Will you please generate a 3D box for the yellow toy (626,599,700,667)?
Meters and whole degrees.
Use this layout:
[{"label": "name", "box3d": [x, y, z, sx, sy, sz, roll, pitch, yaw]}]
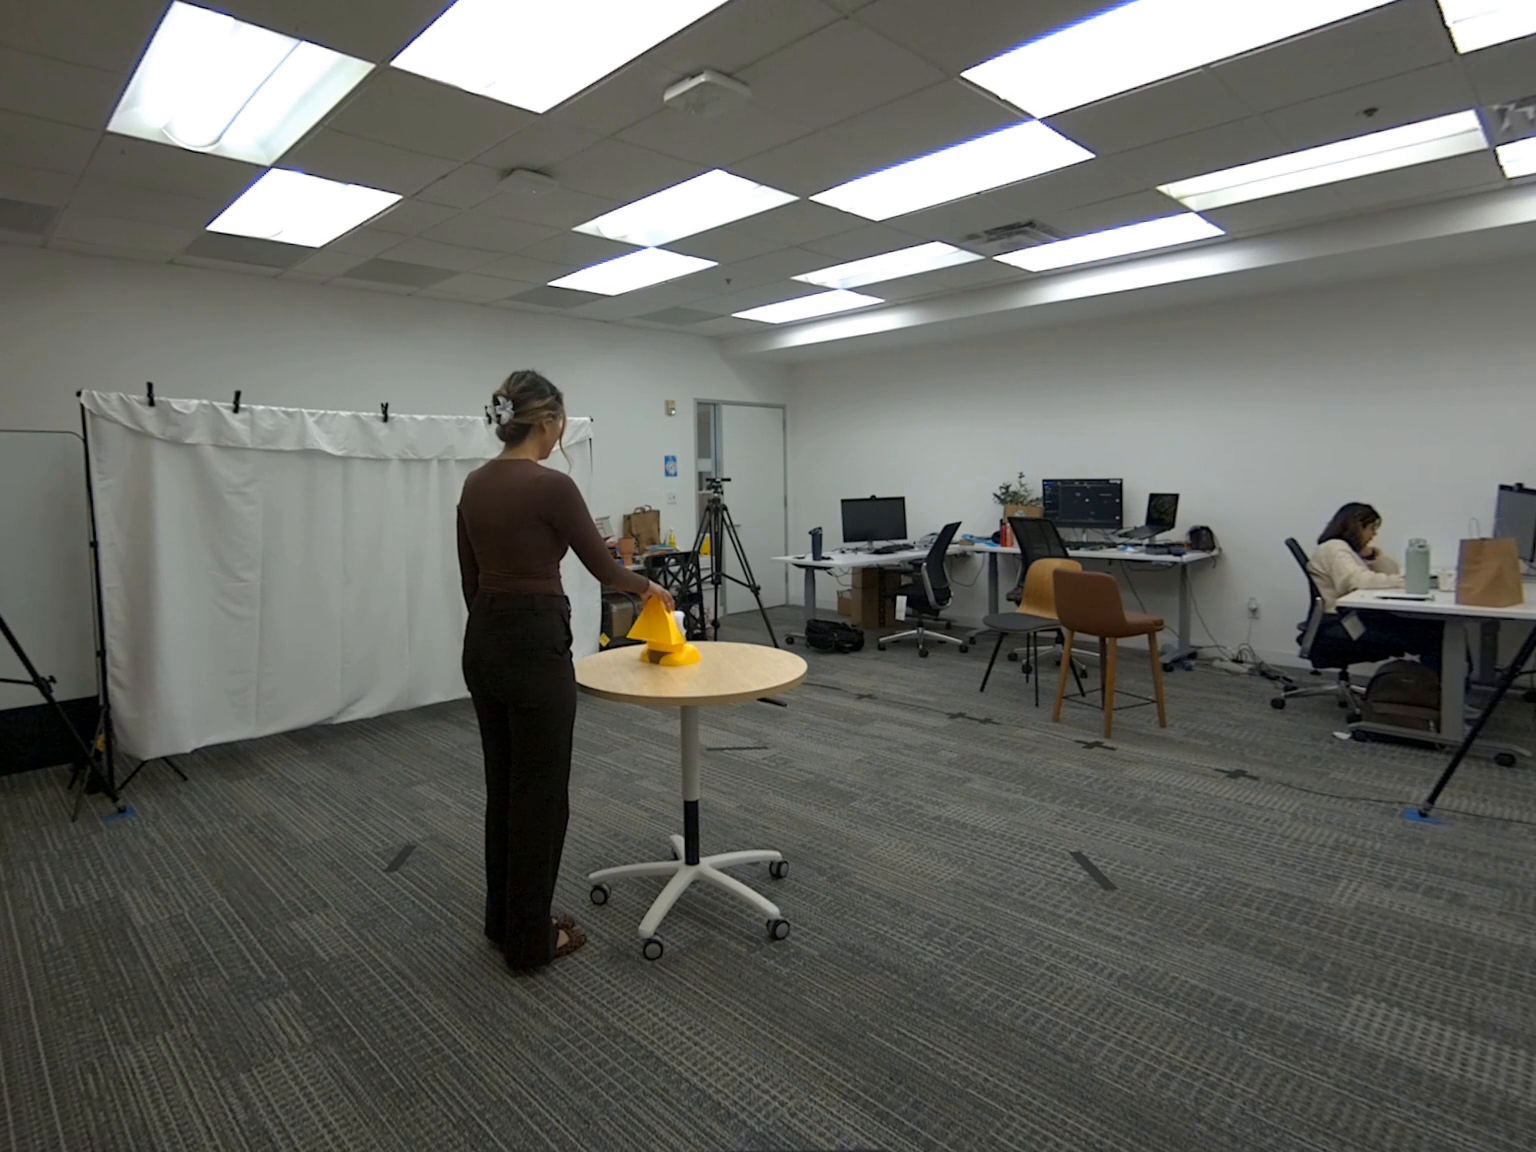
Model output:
[{"label": "yellow toy", "box3d": [-0.332, 0.166, 2.836, 0.211, 0.230, 0.188, 4, 7, 37]}]
